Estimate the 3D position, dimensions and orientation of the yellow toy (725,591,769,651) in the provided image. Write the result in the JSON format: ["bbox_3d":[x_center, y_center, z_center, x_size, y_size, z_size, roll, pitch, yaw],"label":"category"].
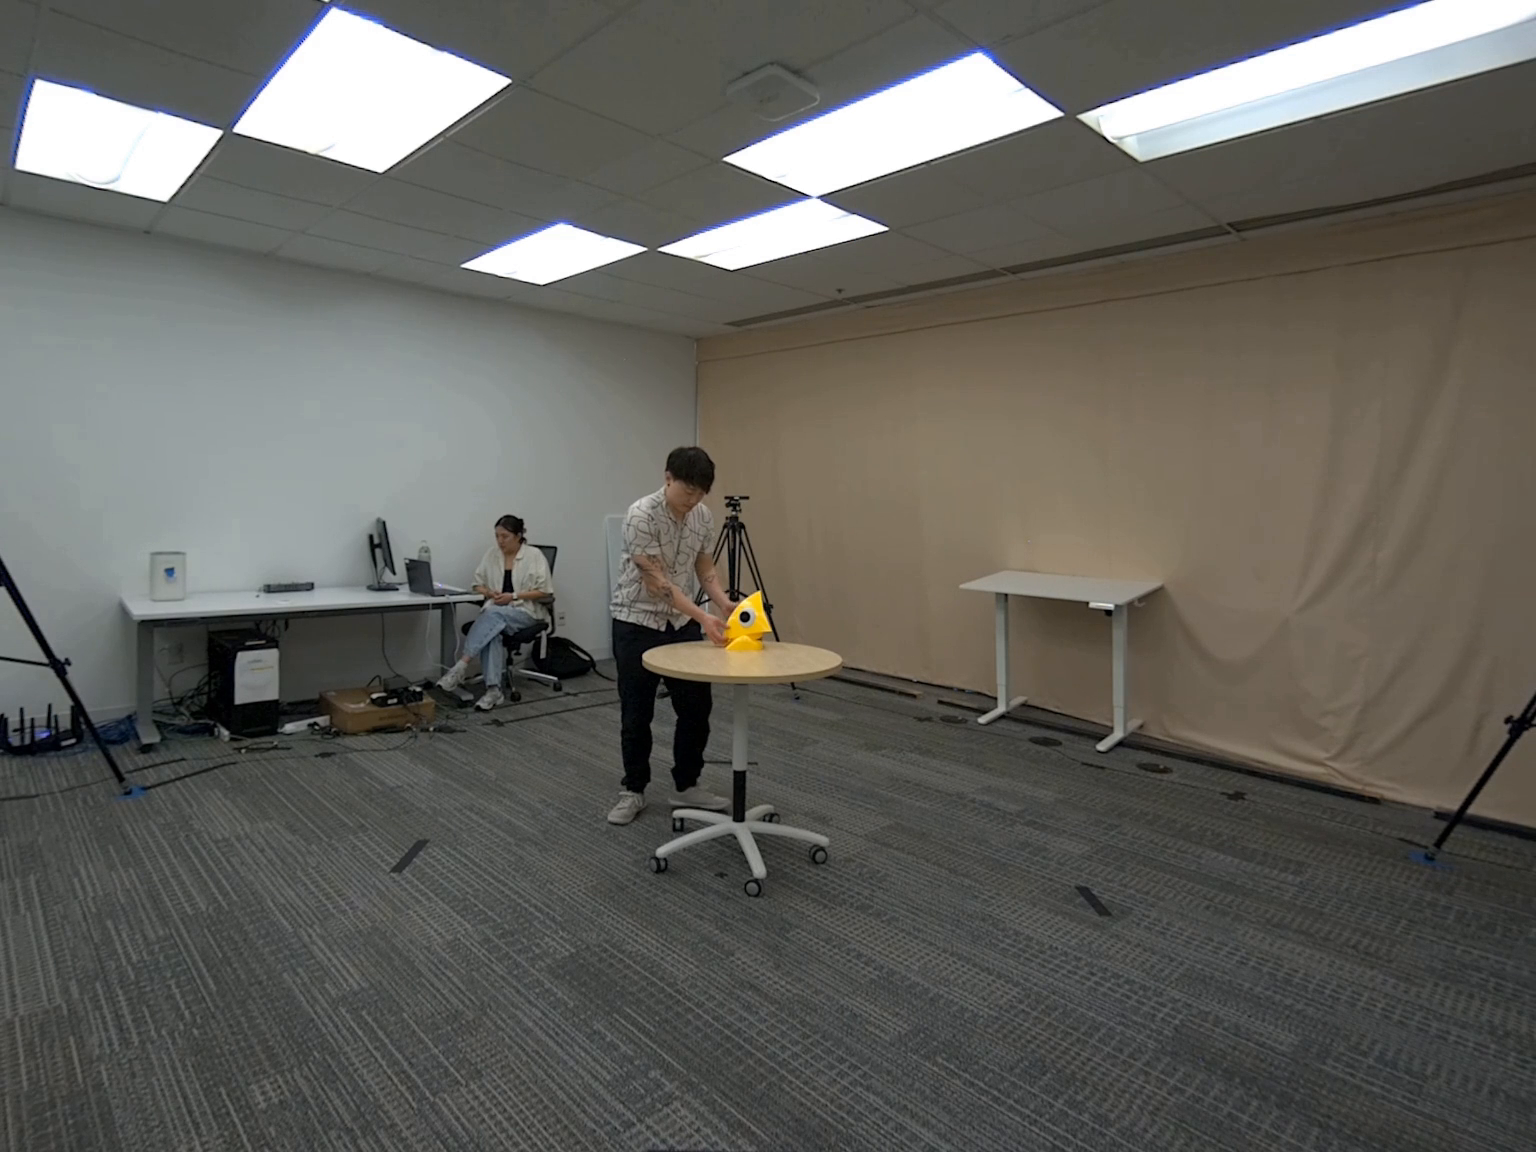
[{"bbox_3d":[-0.100,0.178,3.454,0.191,0.230,0.207,0,4,-10],"label":"yellow toy"}]
